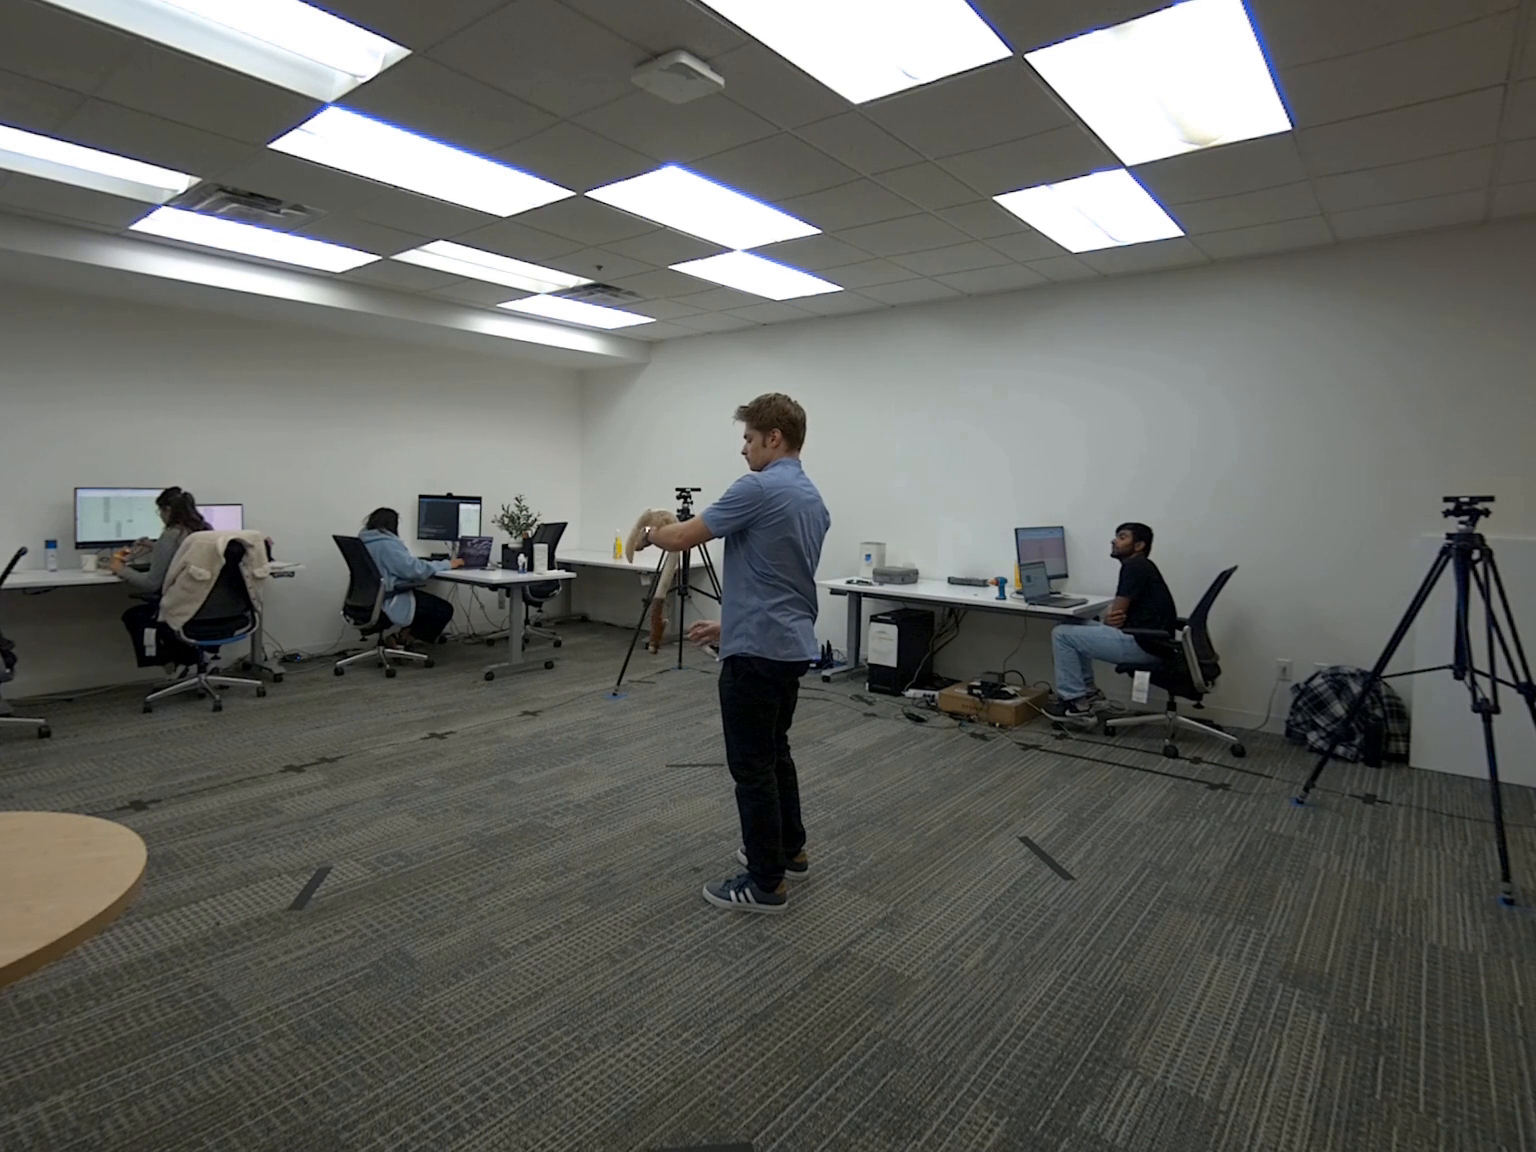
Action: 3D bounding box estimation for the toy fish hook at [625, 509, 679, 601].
[{"bbox_3d":[-0.416,0.020,2.951,0.218,0.506,0.050,5,0,-31],"label":"toy fish hook"}]
